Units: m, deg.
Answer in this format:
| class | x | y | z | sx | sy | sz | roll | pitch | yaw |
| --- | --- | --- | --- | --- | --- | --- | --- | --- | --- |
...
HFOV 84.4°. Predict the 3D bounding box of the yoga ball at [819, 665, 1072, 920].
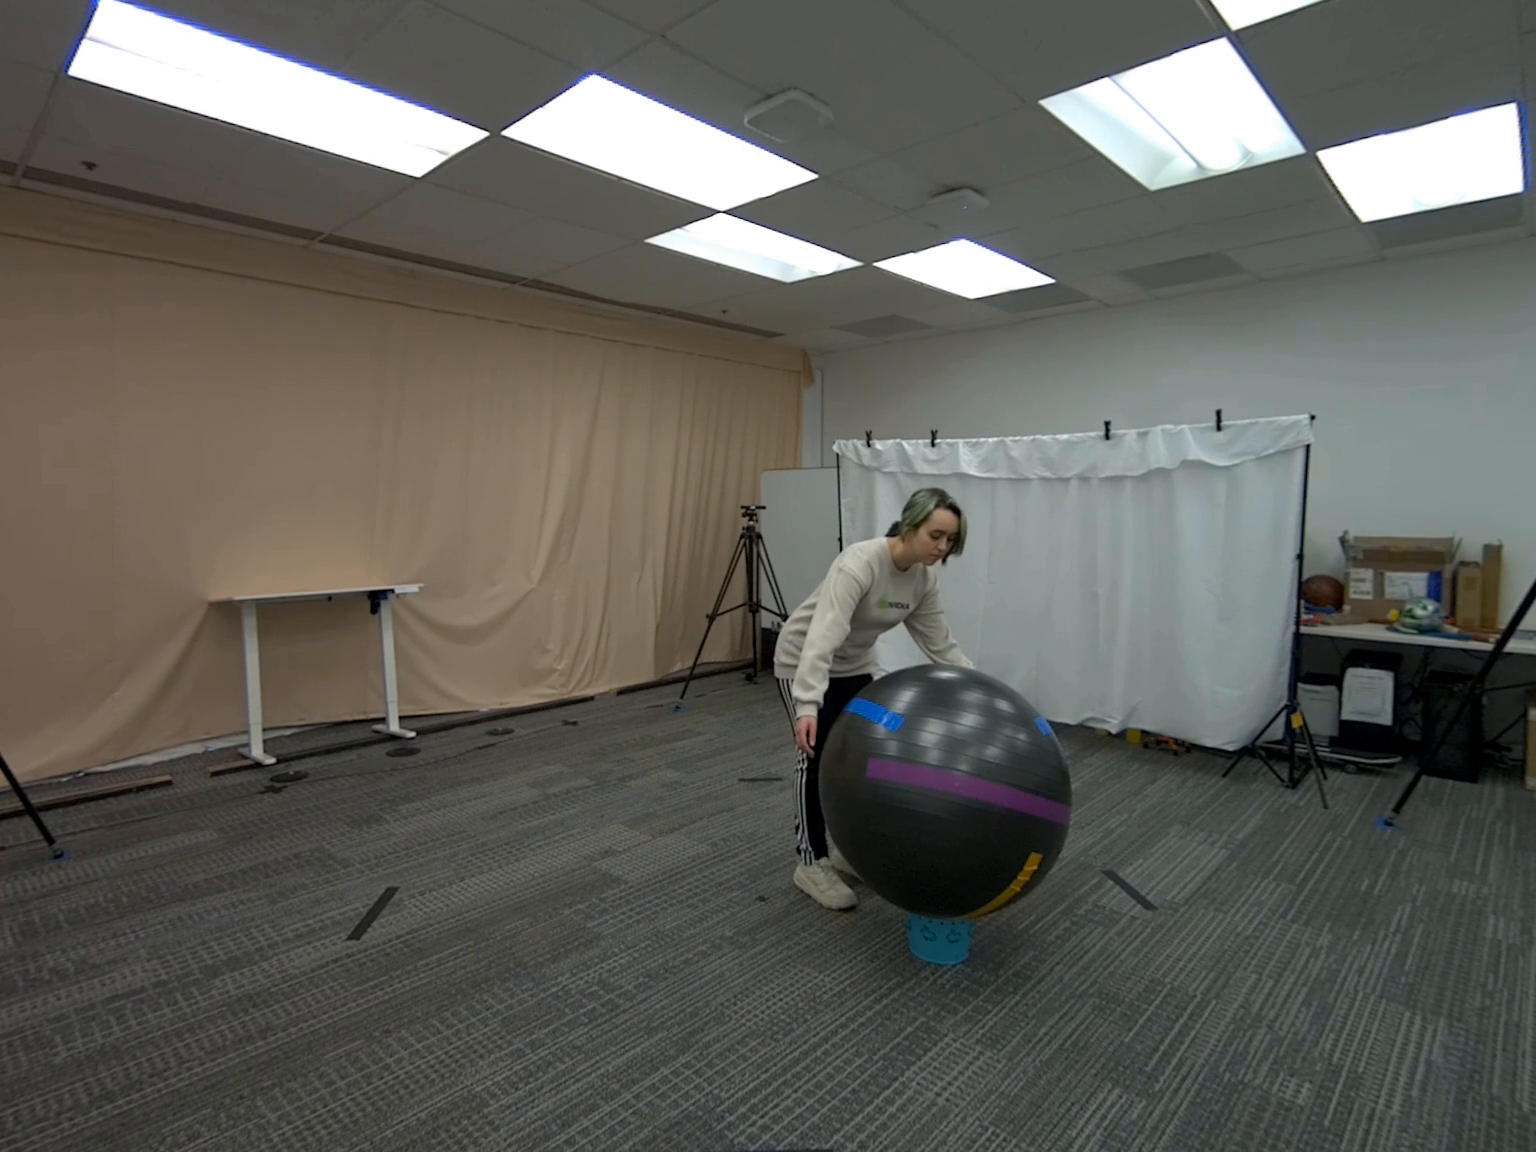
| class | x | y | z | sx | sy | sz | roll | pitch | yaw |
| --- | --- | --- | --- | --- | --- | --- | --- | --- | --- |
| yoga ball | 0.542 | 0.664 | 2.624 | 0.757 | 0.756 | 0.760 | 0 | 4 | -2 |
